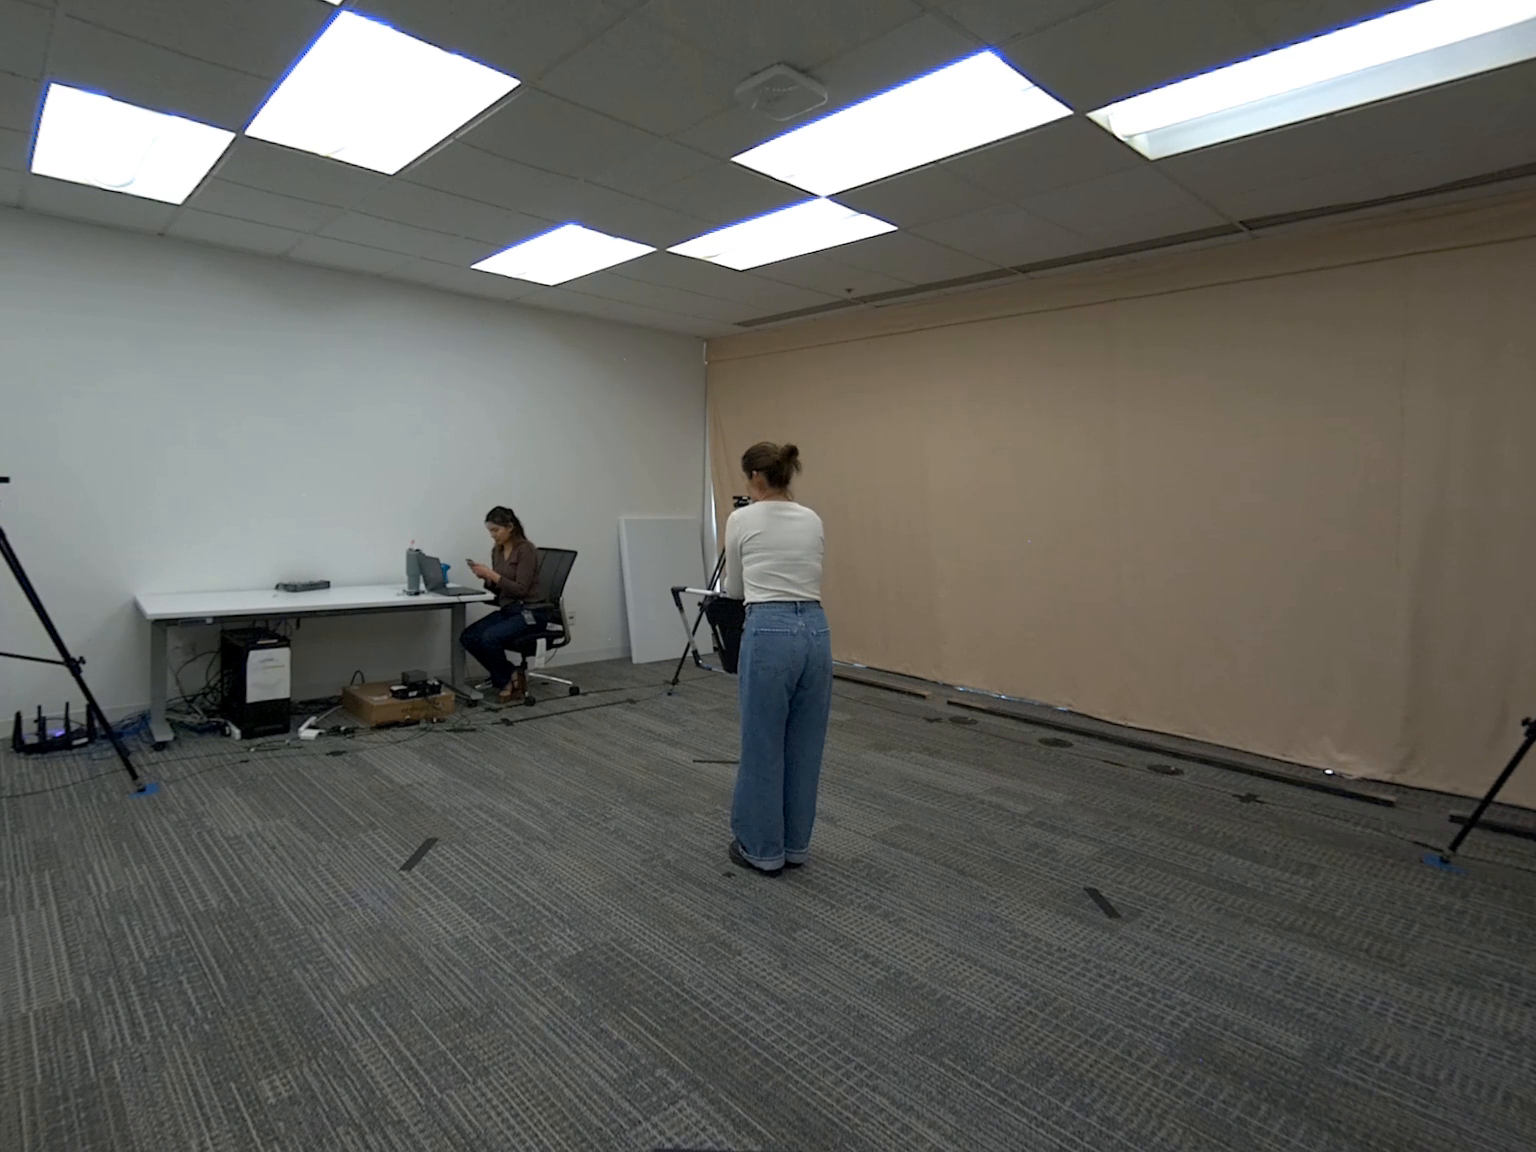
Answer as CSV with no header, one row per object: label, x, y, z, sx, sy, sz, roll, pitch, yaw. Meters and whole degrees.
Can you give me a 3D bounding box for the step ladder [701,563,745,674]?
step ladder,-0.088,0.202,3.607,0.346,0.422,0.623,-29,25,-25
